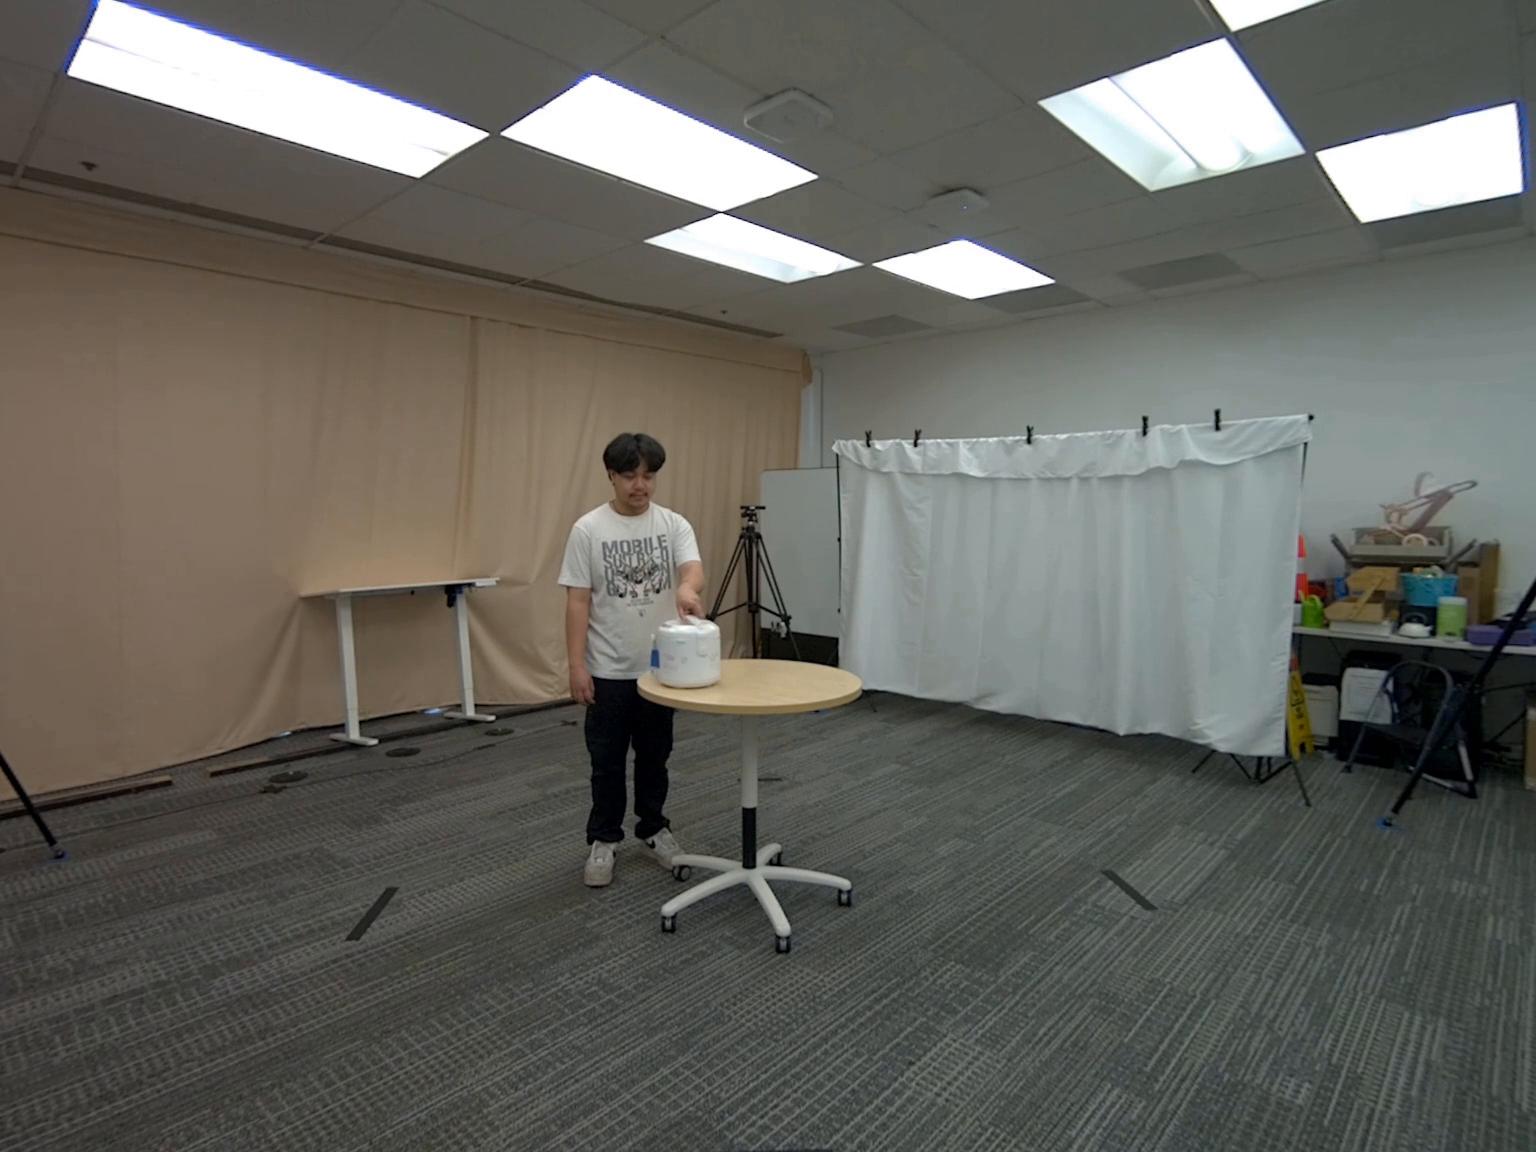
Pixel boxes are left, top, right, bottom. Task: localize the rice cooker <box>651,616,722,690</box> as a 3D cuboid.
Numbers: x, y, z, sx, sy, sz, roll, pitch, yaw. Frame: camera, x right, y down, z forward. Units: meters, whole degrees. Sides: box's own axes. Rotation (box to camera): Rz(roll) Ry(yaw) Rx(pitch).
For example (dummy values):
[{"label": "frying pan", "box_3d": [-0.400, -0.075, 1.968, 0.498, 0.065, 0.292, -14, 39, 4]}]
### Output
[{"label": "rice cooker", "box_3d": [-0.260, 0.244, 2.815, 0.212, 0.232, 0.227, -2, 5, -30]}]
